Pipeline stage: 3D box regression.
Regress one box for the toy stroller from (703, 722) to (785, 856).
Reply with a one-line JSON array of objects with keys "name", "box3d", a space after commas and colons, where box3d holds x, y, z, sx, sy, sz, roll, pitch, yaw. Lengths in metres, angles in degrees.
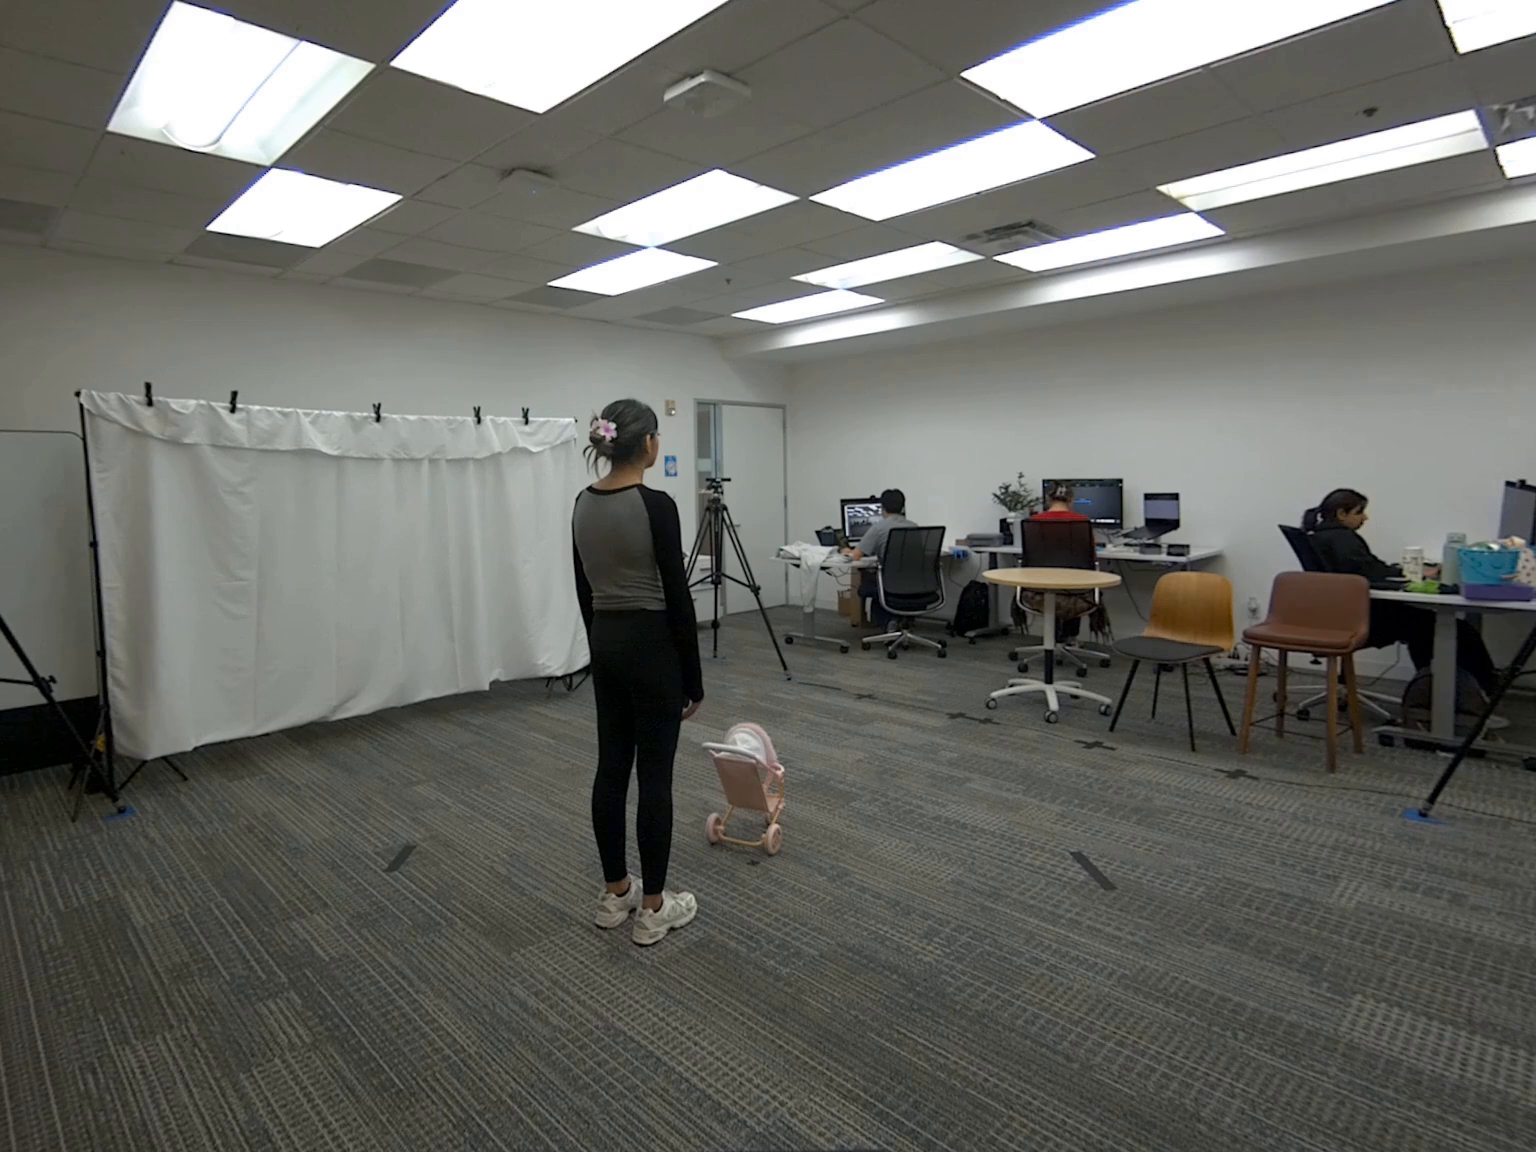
[{"name": "toy stroller", "box3d": [-0.065, 0.797, 3.279, 0.289, 0.526, 0.338, 2, 20, 29]}]
